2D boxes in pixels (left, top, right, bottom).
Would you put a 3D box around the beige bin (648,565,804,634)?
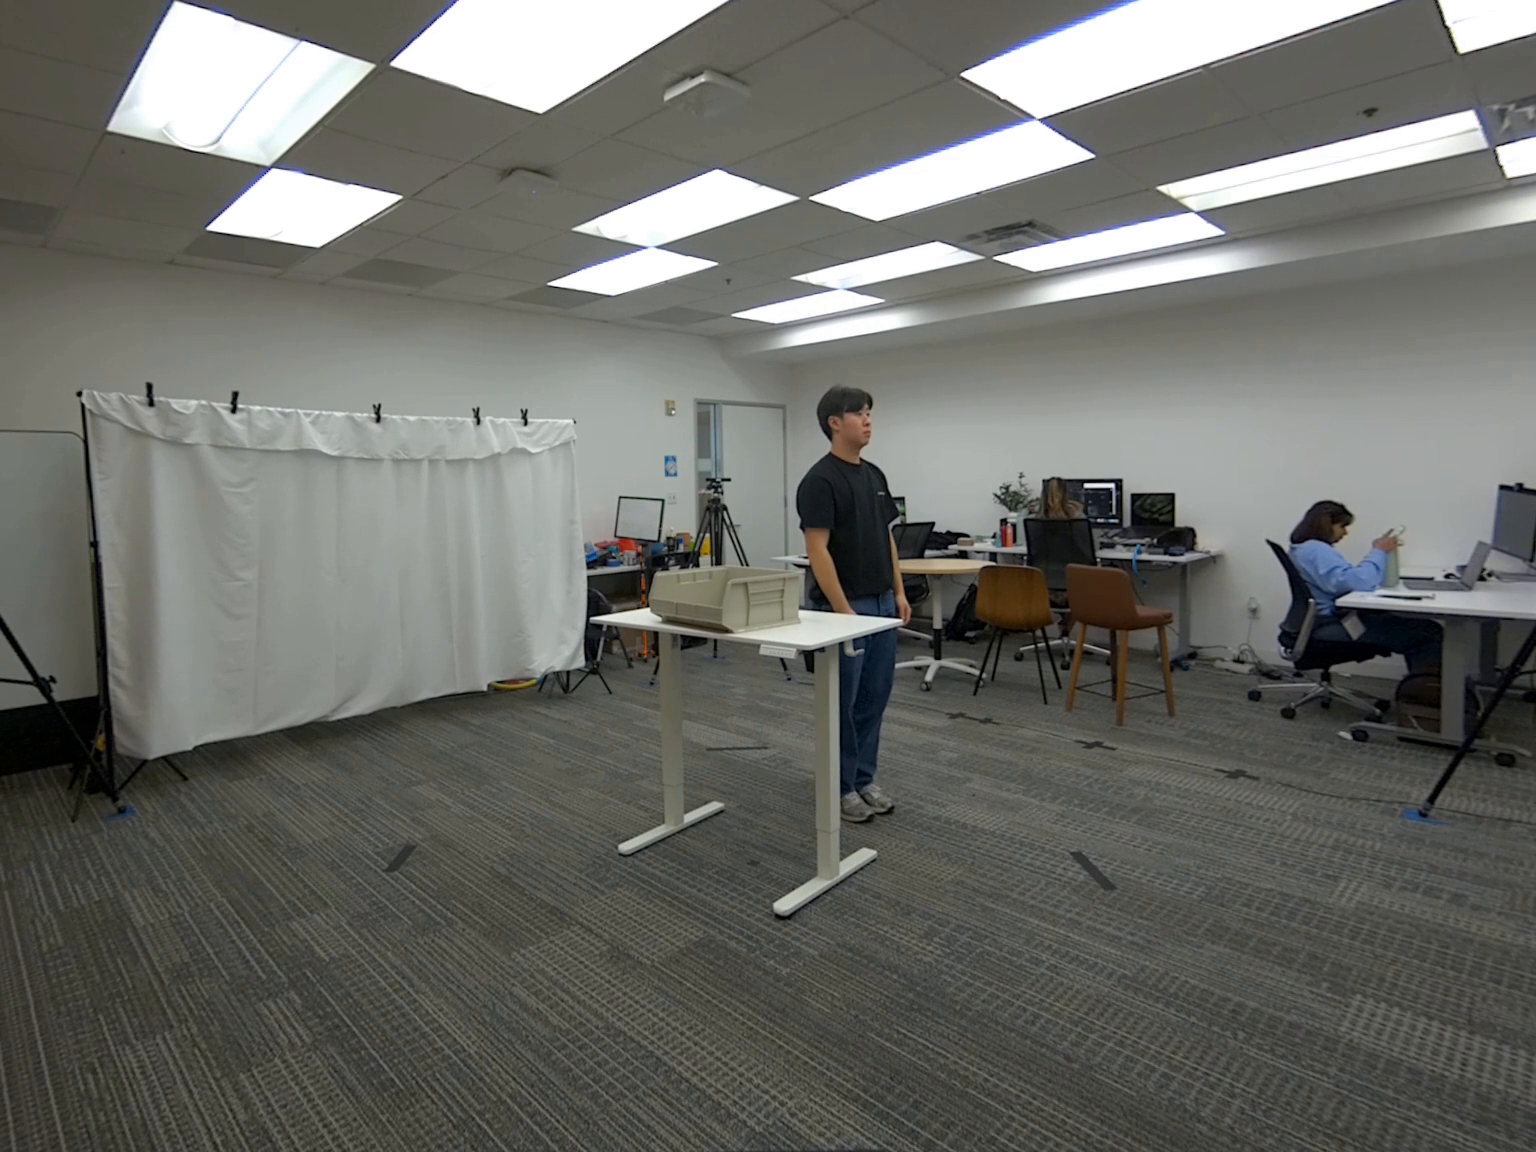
[{"bbox_3d":[-0.148,0.078,3.043,0.367,0.188,0.435,-4,6,-42],"label":"beige bin"}]
